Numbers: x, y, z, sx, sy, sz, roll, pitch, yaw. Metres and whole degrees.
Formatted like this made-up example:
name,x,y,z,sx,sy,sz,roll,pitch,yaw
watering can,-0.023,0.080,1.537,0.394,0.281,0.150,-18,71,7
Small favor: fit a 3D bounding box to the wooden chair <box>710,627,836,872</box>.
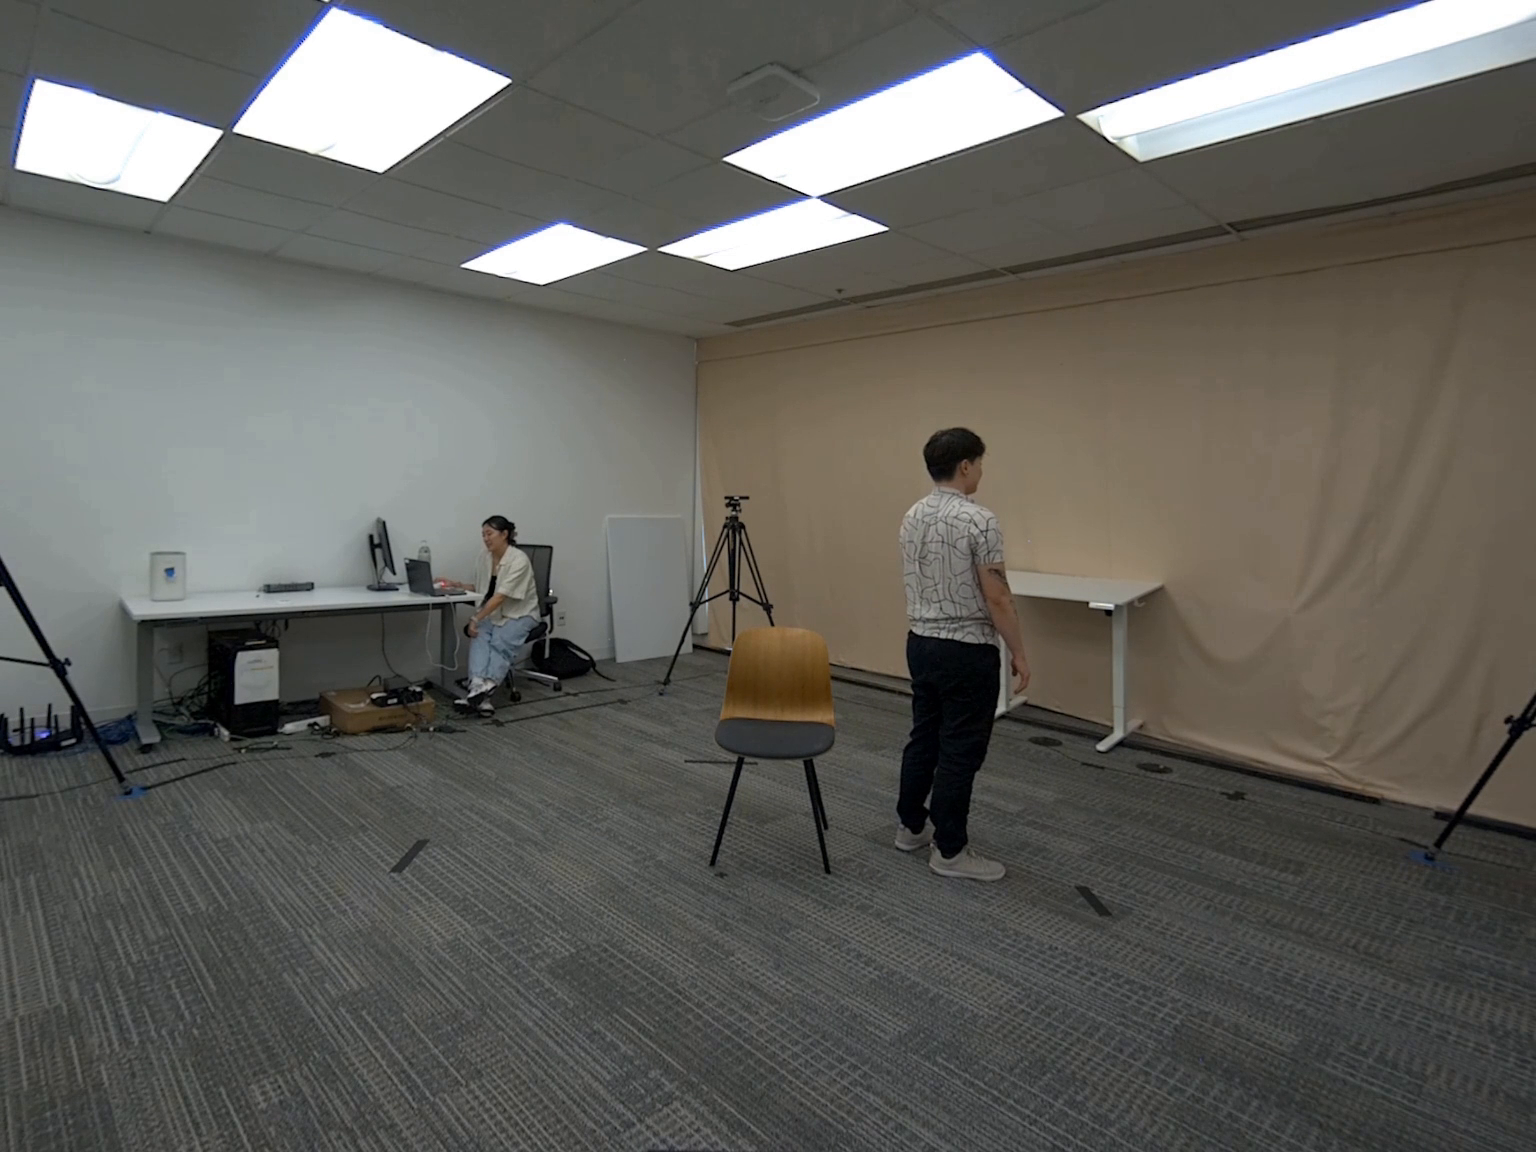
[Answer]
name,x,y,z,sx,sy,sz,roll,pitch,yaw
wooden chair,0.028,0.659,3.334,0.480,0.878,0.520,2,-1,5
